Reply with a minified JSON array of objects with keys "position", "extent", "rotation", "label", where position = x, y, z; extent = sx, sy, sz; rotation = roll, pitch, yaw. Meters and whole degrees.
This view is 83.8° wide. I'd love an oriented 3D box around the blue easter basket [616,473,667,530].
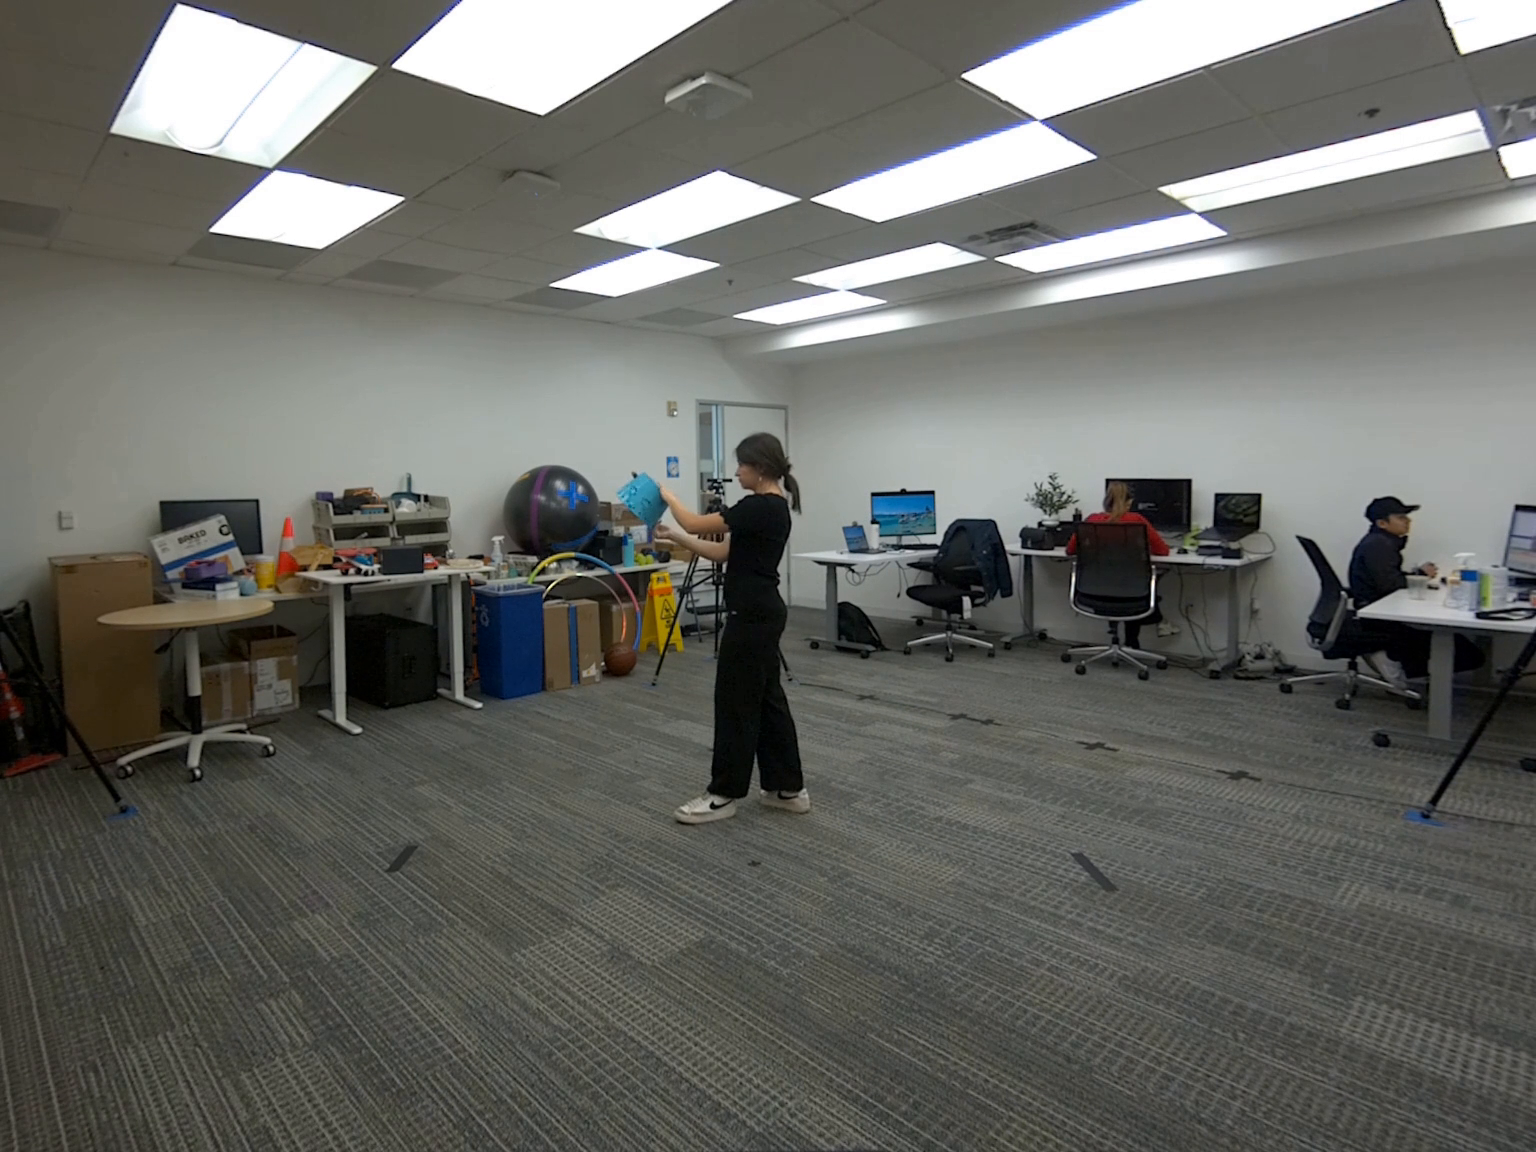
[{"position":[-0.541,-0.343,3.749],"extent":[0.156,0.243,0.244],"rotation":[-46,3,1],"label":"blue easter basket"}]
